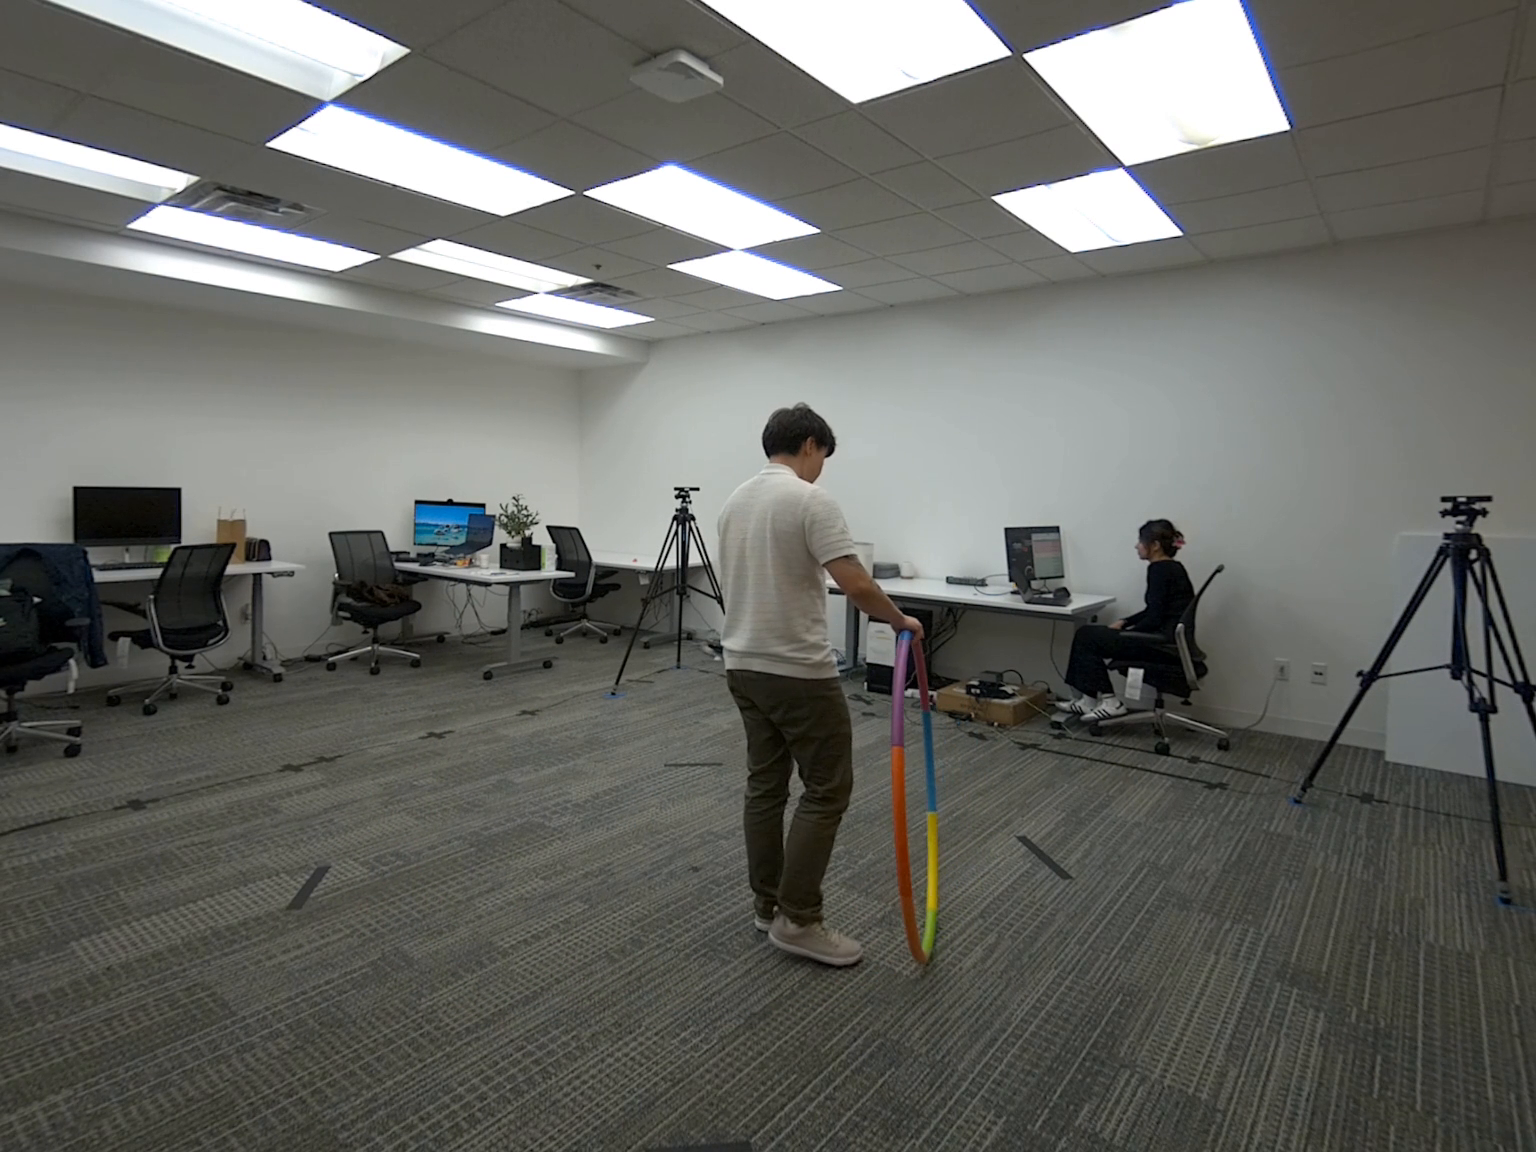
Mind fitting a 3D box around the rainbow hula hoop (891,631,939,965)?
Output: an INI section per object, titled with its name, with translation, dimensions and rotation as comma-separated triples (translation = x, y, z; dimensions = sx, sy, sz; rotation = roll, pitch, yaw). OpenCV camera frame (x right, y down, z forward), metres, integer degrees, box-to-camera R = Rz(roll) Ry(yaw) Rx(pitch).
[rainbow hula hoop]
translation = 0.453, 0.642, 2.623
dimensions = 0.036, 0.977, 0.965
rotation = -3, 3, 15
